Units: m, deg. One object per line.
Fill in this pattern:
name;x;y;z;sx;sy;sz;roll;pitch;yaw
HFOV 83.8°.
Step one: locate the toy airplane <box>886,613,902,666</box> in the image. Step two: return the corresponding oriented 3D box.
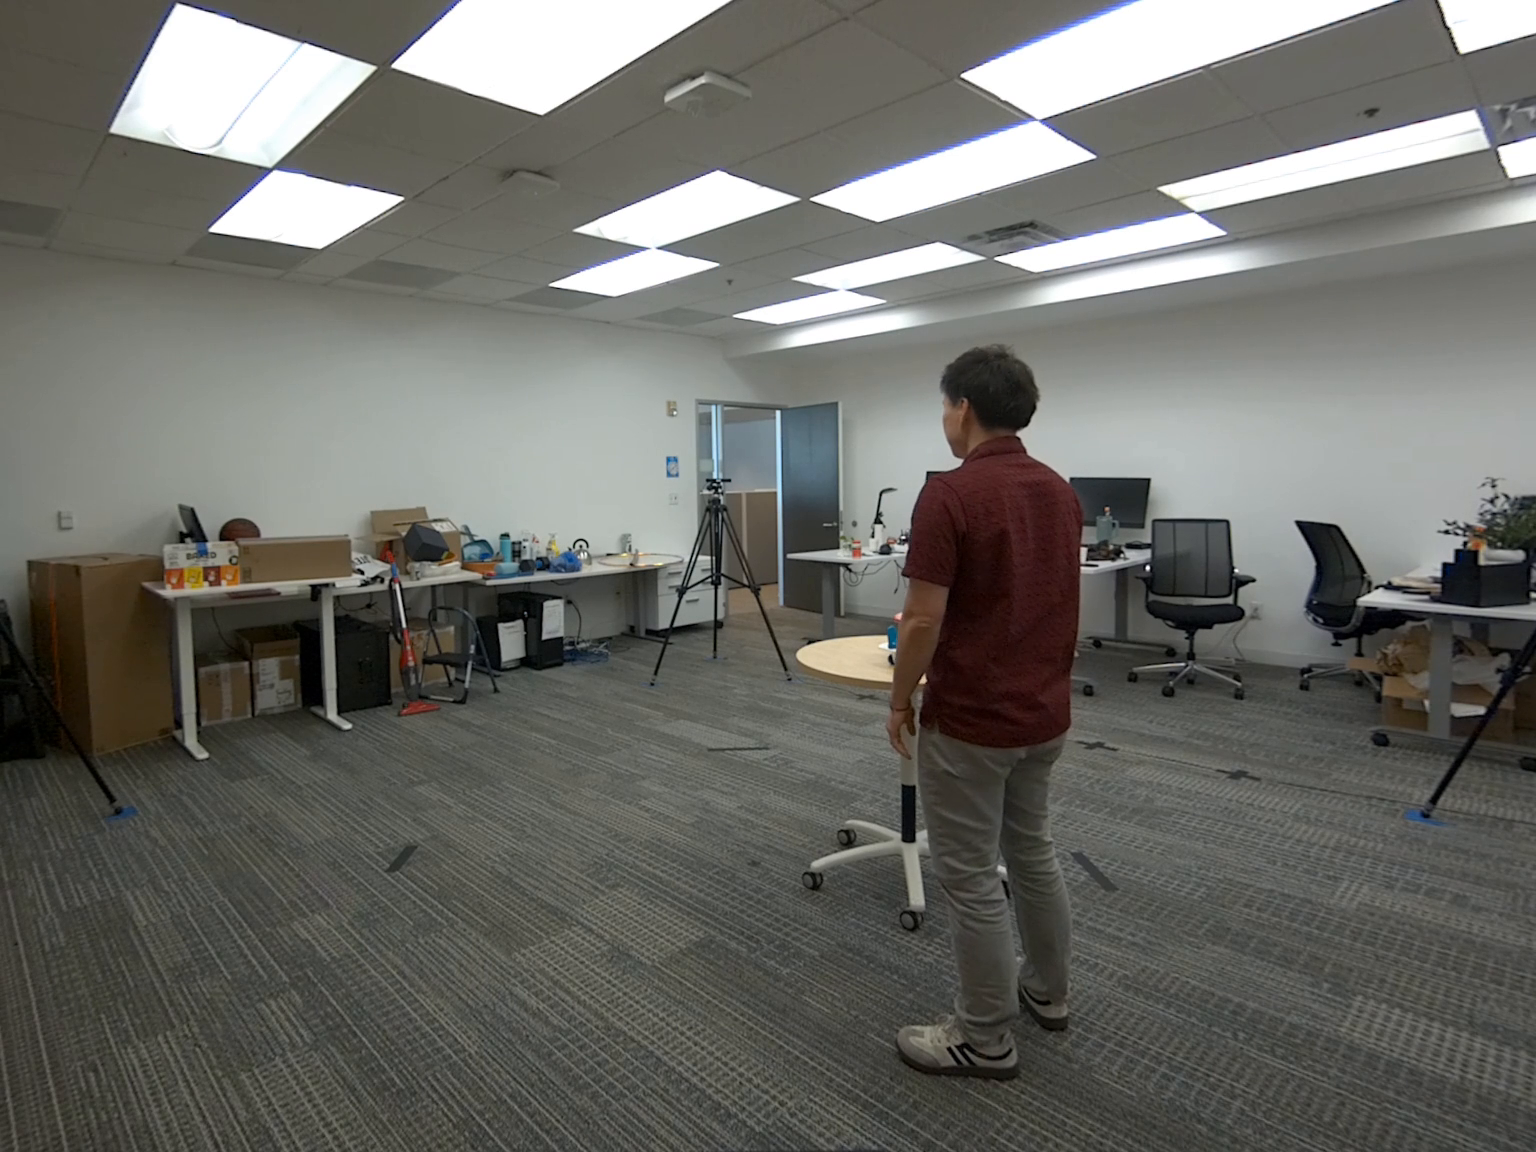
toy airplane;0.520;0.210;2.797;0.258;0.156;0.253;4;7;31
